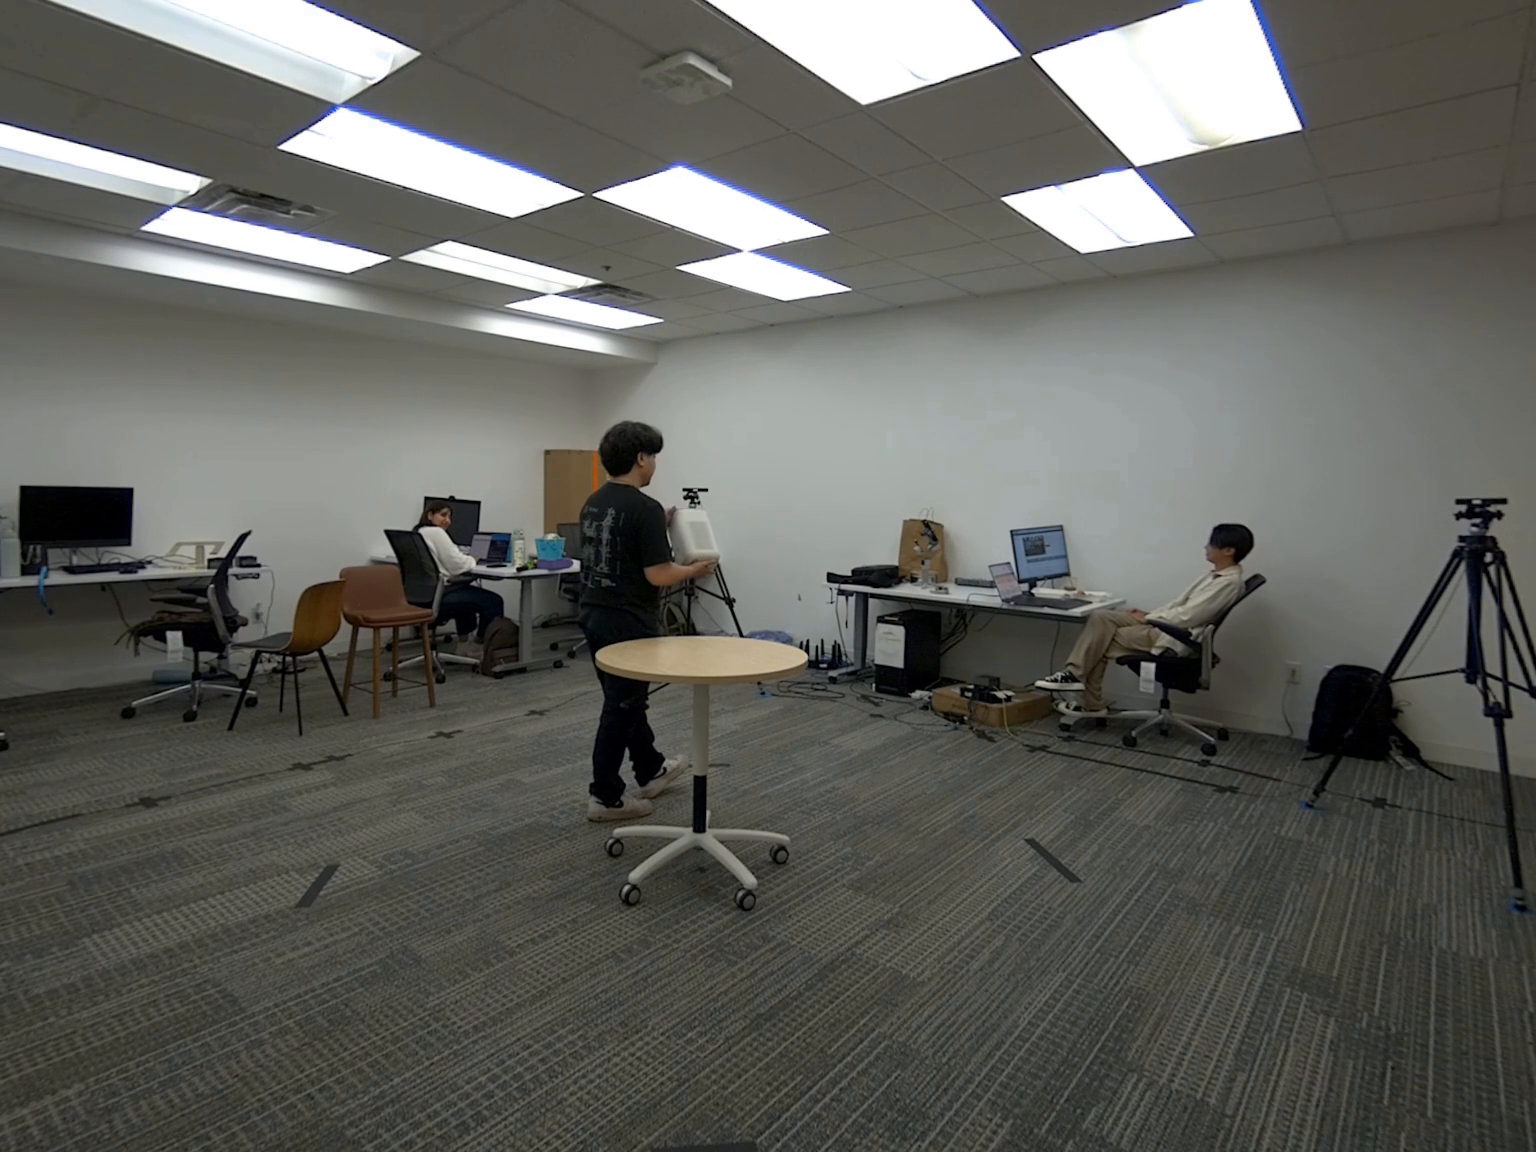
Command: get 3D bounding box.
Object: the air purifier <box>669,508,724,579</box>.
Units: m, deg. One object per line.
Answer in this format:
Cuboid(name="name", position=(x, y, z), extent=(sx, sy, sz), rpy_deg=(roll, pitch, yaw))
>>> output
Cuboid(name="air purifier", position=(-0.340, -0.148, 3.763), extent=(0.168, 0.275, 0.169), rpy_deg=(-2, -37, -24))
